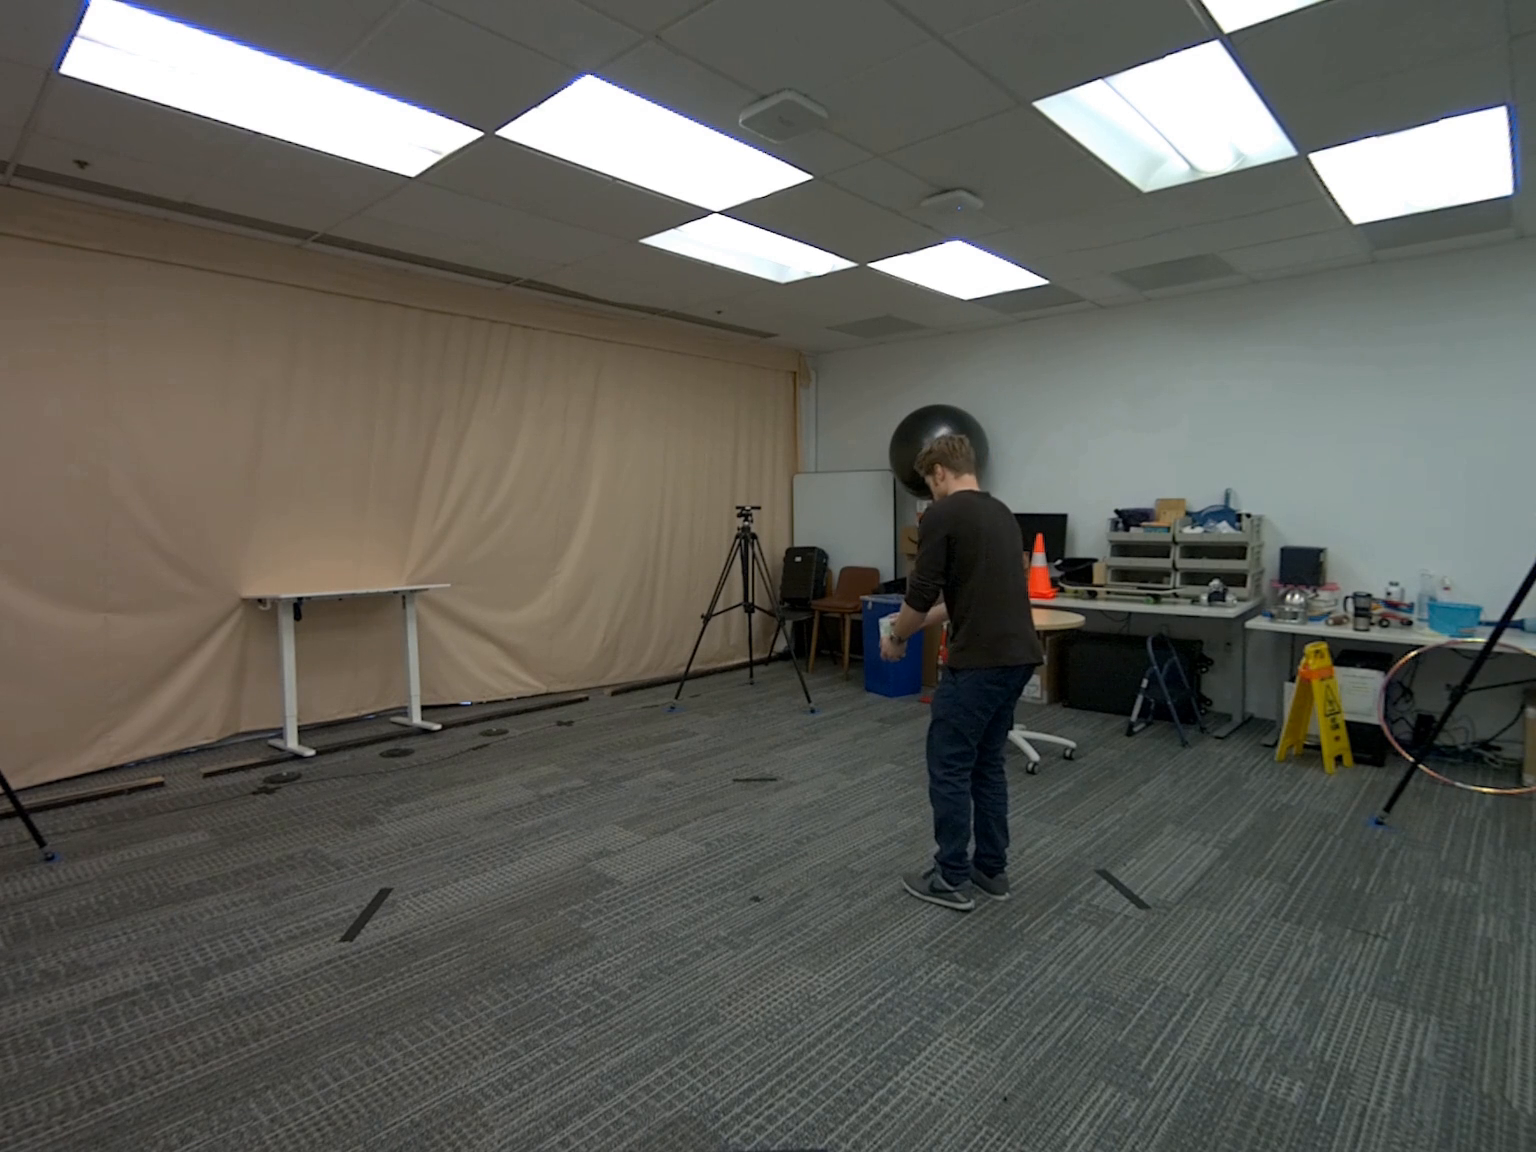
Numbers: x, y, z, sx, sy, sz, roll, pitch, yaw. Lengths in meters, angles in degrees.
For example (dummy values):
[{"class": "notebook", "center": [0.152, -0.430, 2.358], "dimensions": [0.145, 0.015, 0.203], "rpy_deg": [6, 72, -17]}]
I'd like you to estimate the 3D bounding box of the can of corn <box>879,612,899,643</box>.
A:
[{"class": "can of corn", "center": [0.530, 0.214, 3.381], "dimensions": [0.074, 0.112, 0.074], "rpy_deg": [-8, -7, -3]}]
